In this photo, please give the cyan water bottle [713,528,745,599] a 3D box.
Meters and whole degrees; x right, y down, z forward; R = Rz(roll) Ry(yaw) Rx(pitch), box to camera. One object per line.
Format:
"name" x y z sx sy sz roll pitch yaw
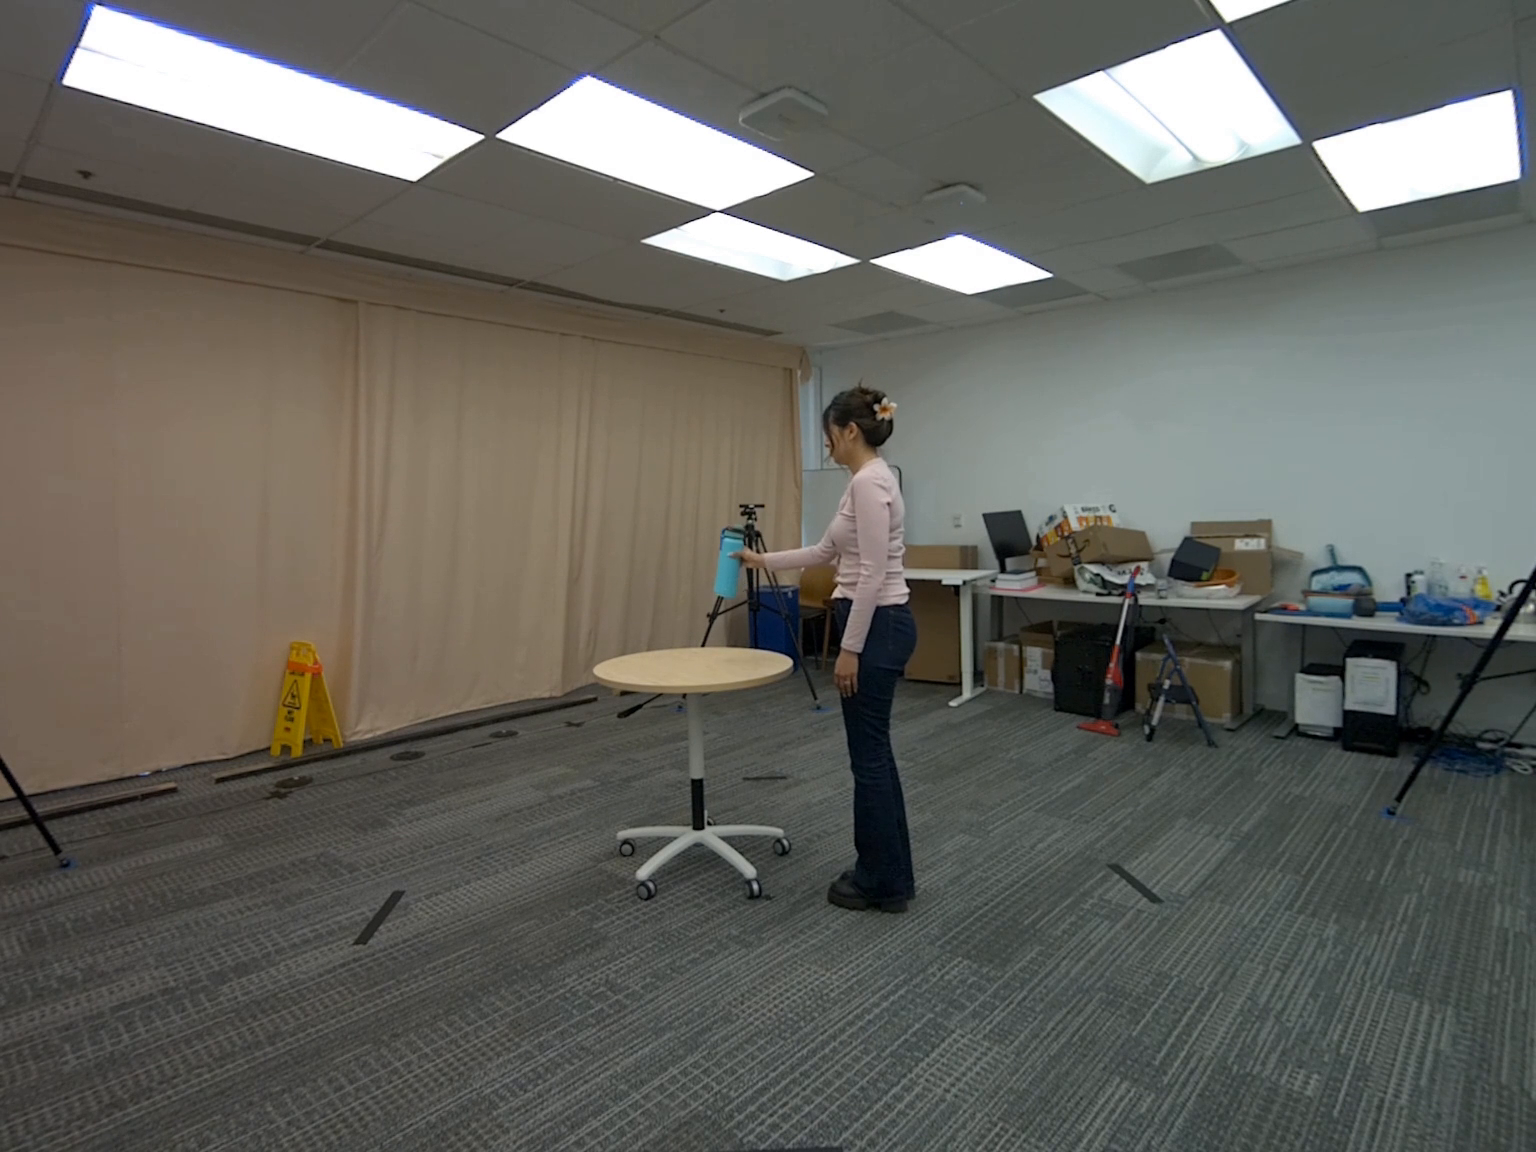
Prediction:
"cyan water bottle" -0.145 -0.059 3.300 0.092 0.283 0.093 6 4 -2
